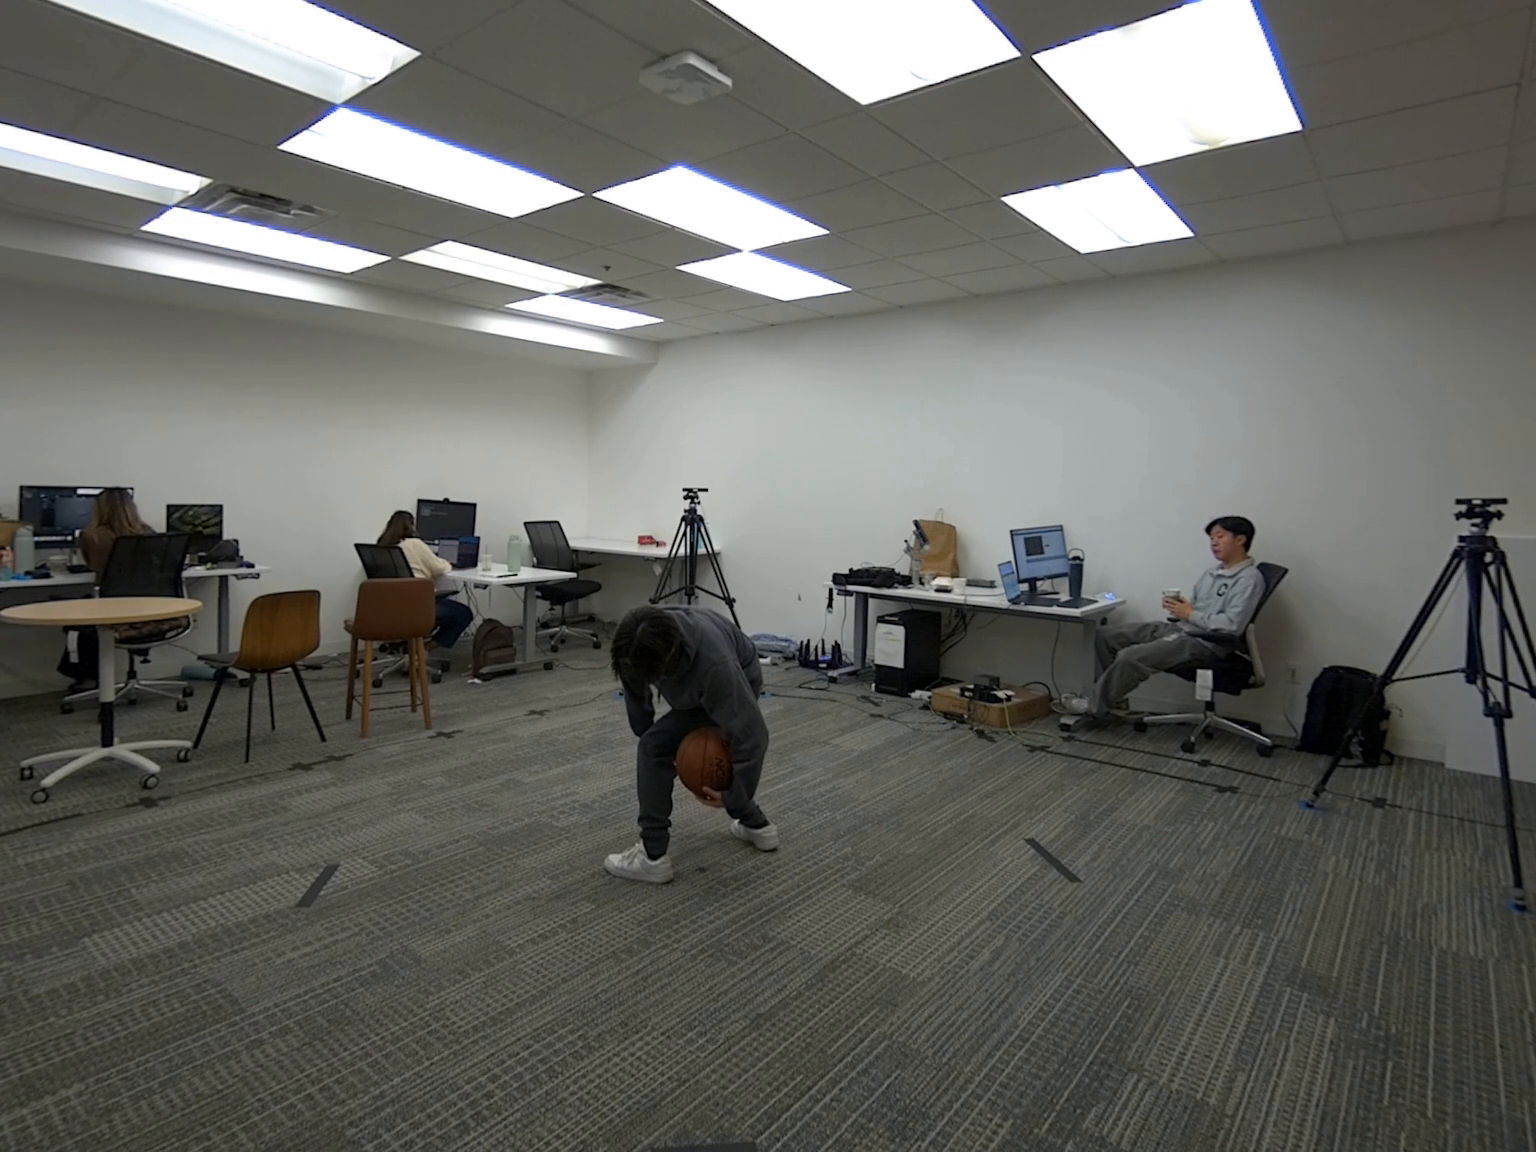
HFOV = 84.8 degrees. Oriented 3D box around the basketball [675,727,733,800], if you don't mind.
[{"bbox_3d":[-0.207,0.653,2.997,0.235,0.235,0.237,1,4,-2],"label":"basketball"}]
